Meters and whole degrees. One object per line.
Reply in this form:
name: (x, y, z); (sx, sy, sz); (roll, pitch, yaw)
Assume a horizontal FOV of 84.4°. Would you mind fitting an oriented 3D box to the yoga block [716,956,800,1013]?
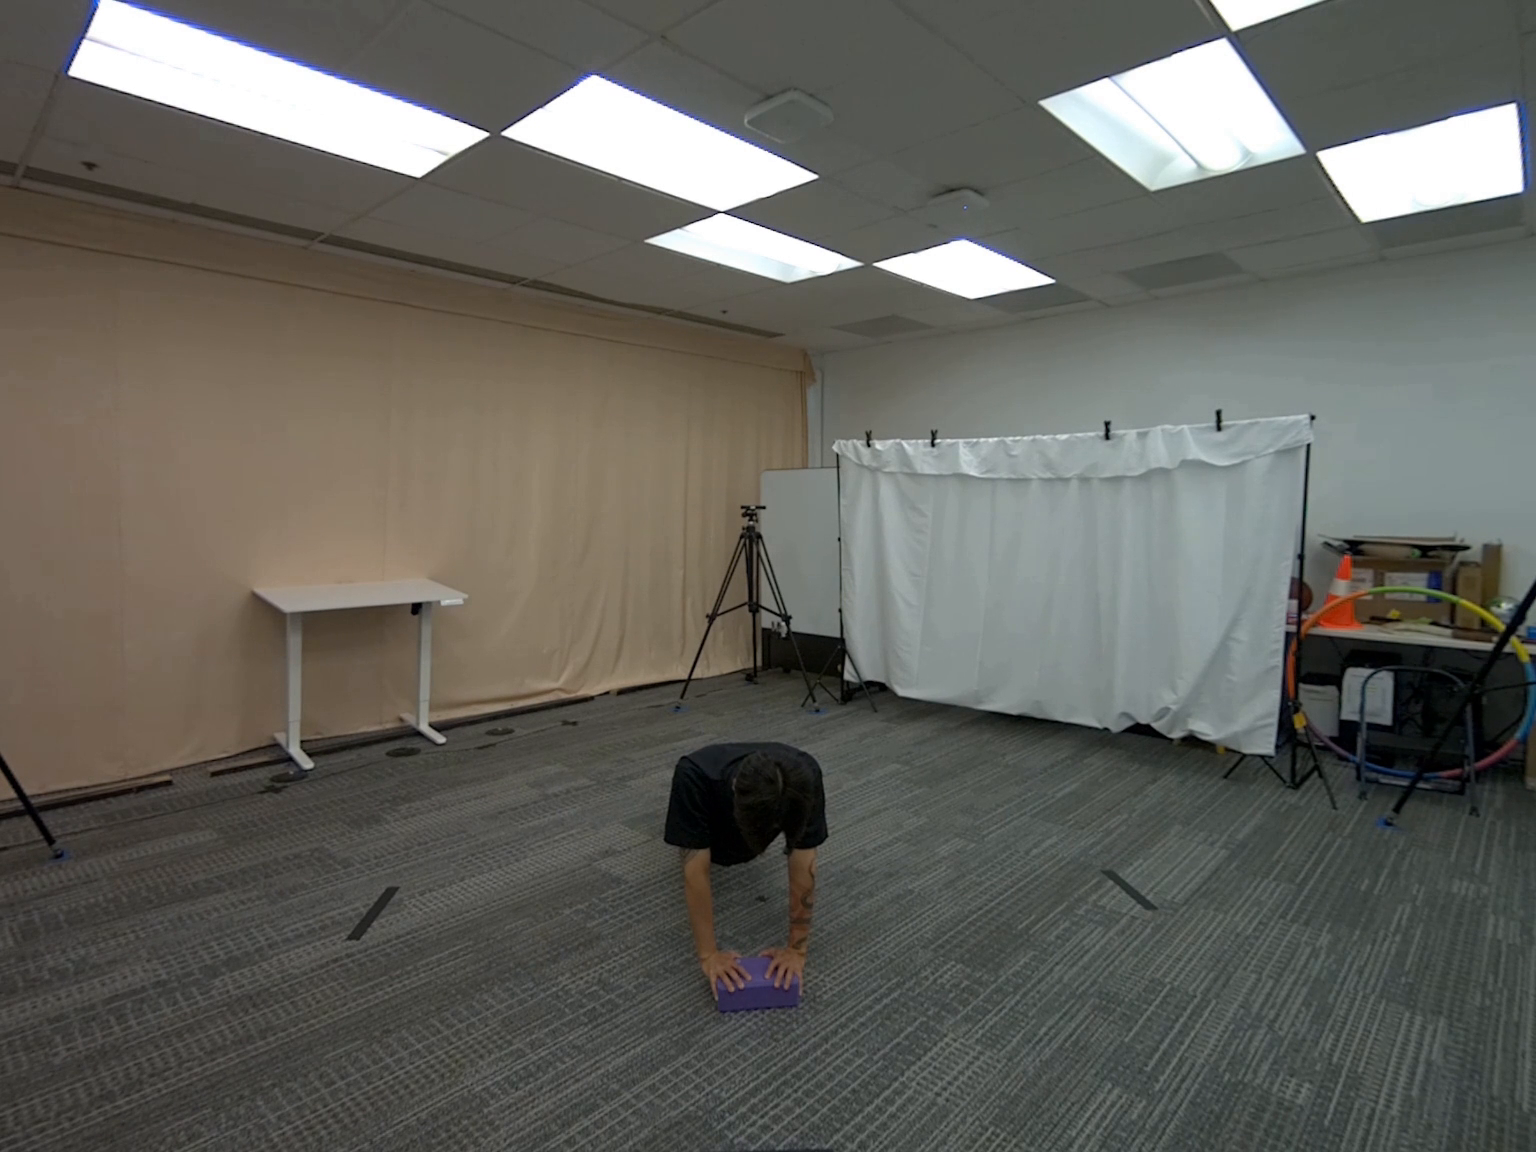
yoga block: (-0.037, 1.153, 2.396); (0.227, 0.076, 0.150); (0, 3, -9)
